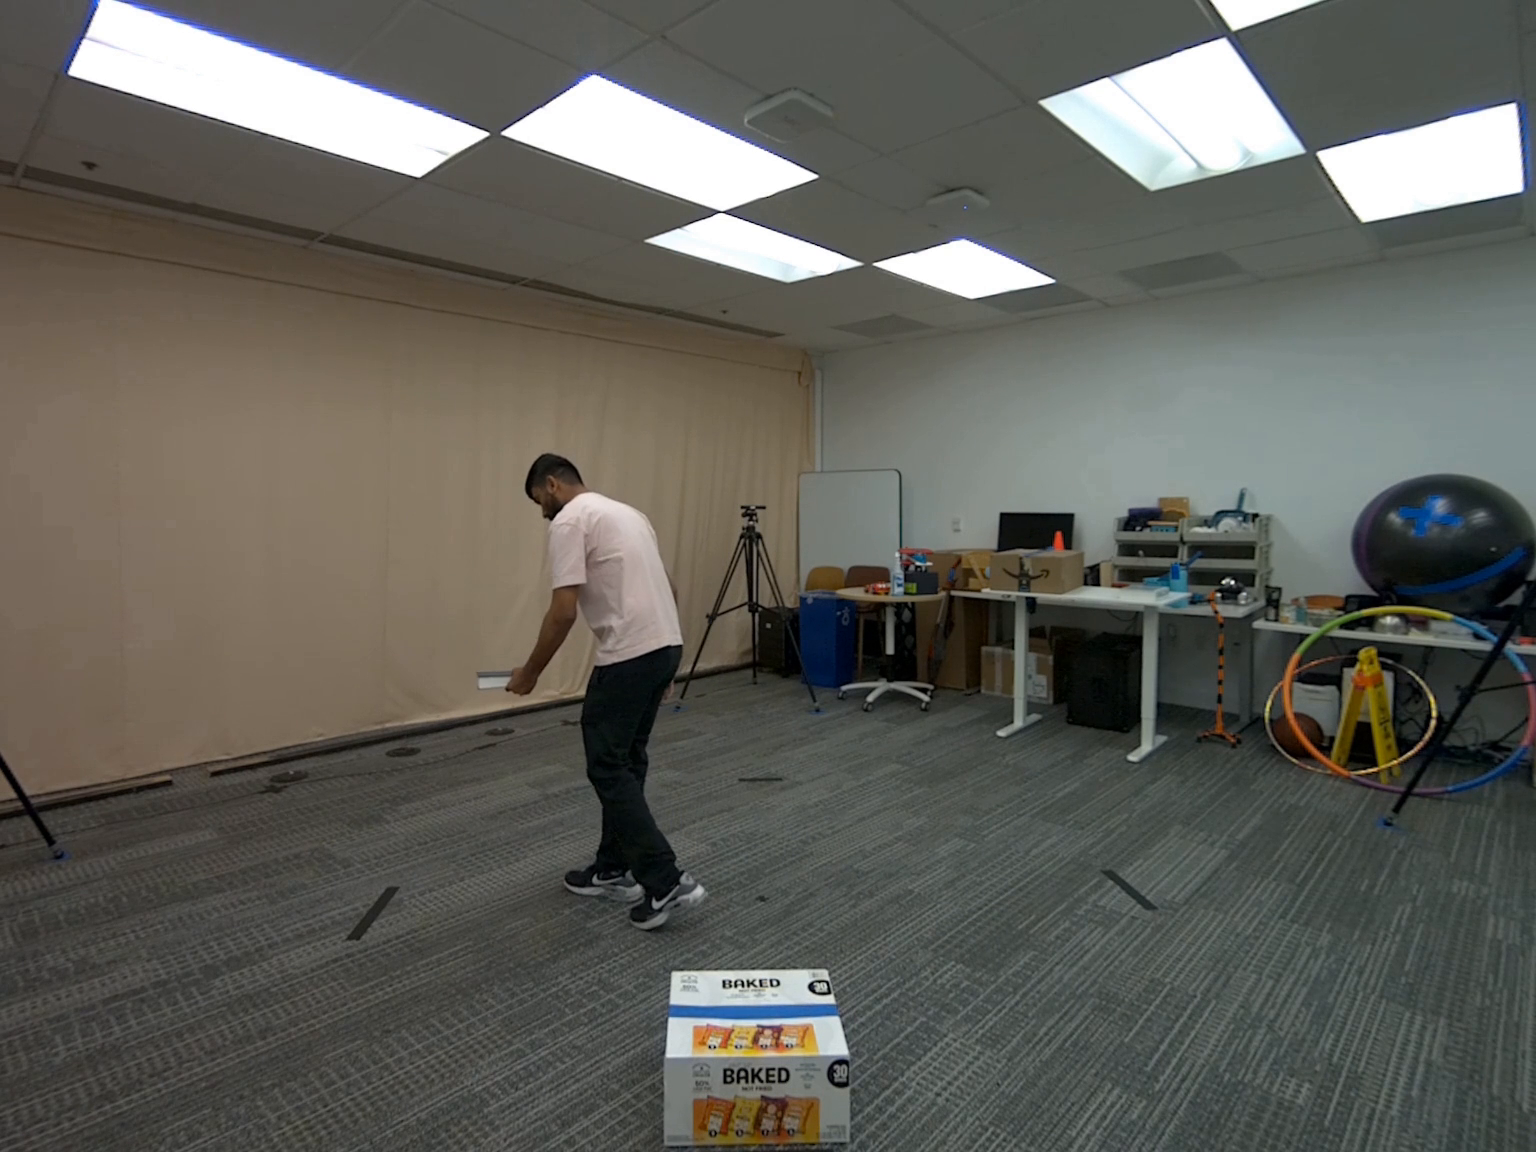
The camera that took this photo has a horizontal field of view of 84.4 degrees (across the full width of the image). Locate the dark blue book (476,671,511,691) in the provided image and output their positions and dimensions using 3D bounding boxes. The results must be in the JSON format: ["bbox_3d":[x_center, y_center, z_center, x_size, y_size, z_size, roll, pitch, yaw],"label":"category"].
[{"bbox_3d":[-0.960,0.370,3.029,0.161,0.045,0.249,-3,-1,-18],"label":"dark blue book"}]
